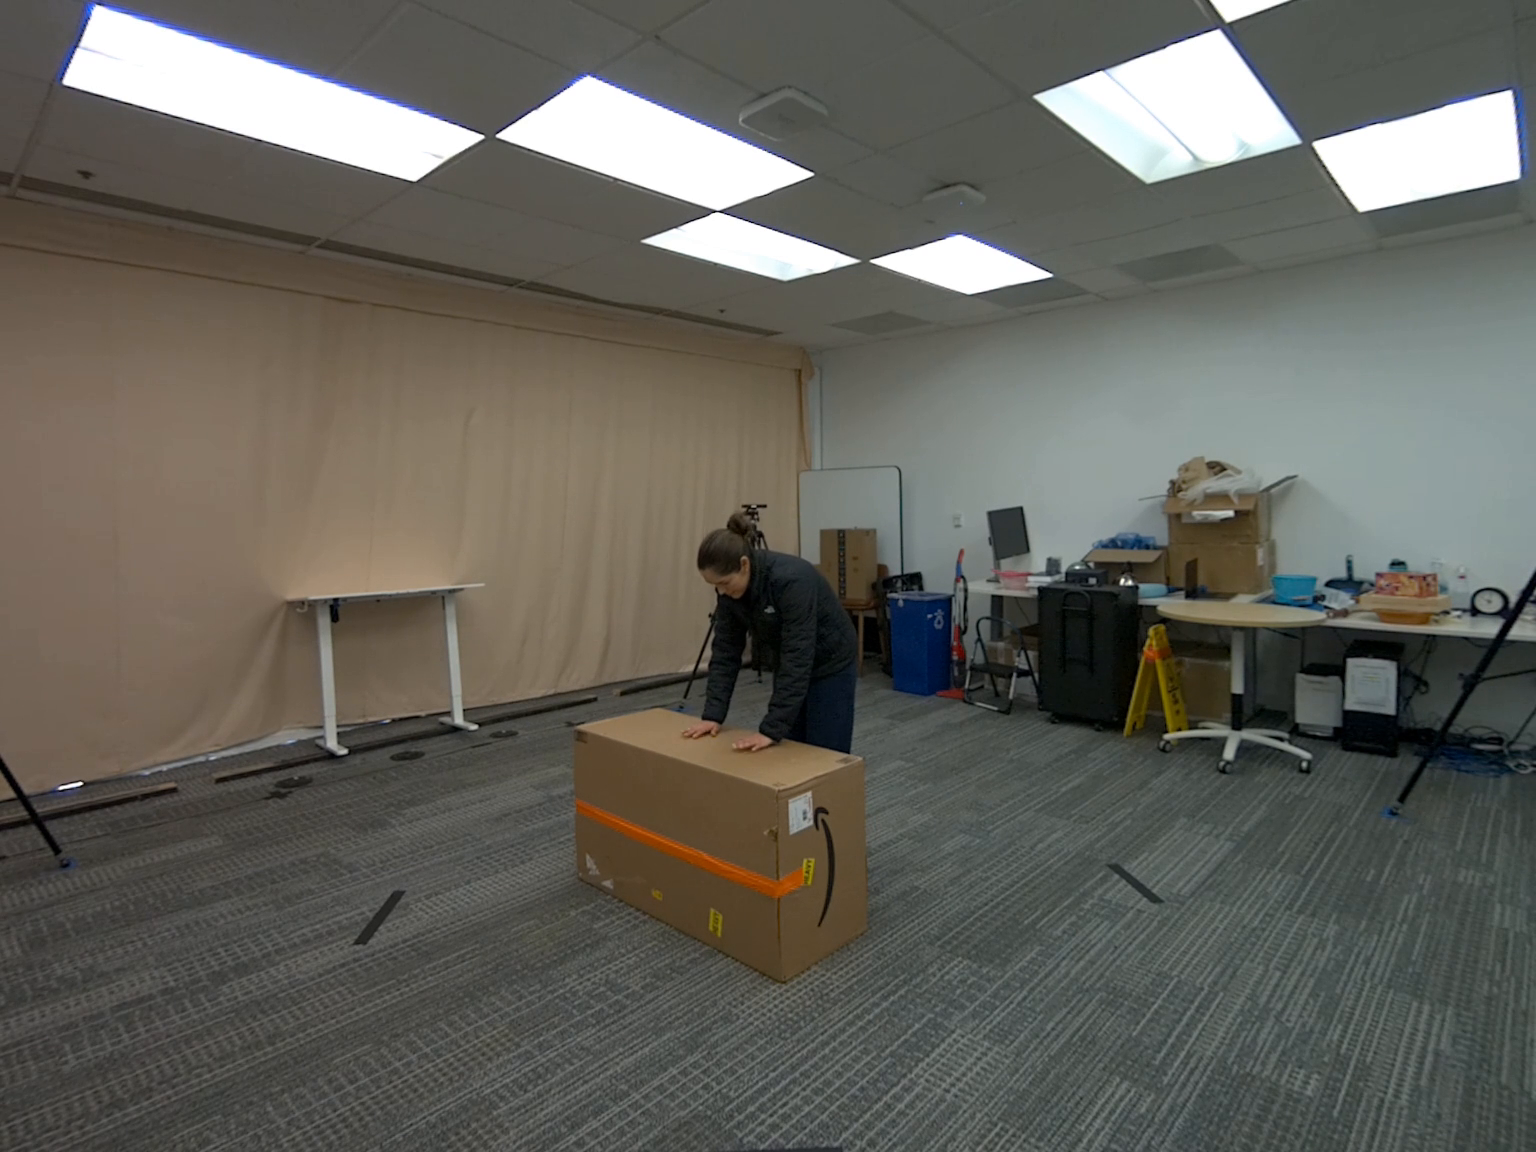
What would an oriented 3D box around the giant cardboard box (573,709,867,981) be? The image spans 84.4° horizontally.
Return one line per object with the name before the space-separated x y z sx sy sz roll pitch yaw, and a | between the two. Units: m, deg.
giant cardboard box | -0.192 0.862 2.933 1.061 0.583 0.433 3 4 44
